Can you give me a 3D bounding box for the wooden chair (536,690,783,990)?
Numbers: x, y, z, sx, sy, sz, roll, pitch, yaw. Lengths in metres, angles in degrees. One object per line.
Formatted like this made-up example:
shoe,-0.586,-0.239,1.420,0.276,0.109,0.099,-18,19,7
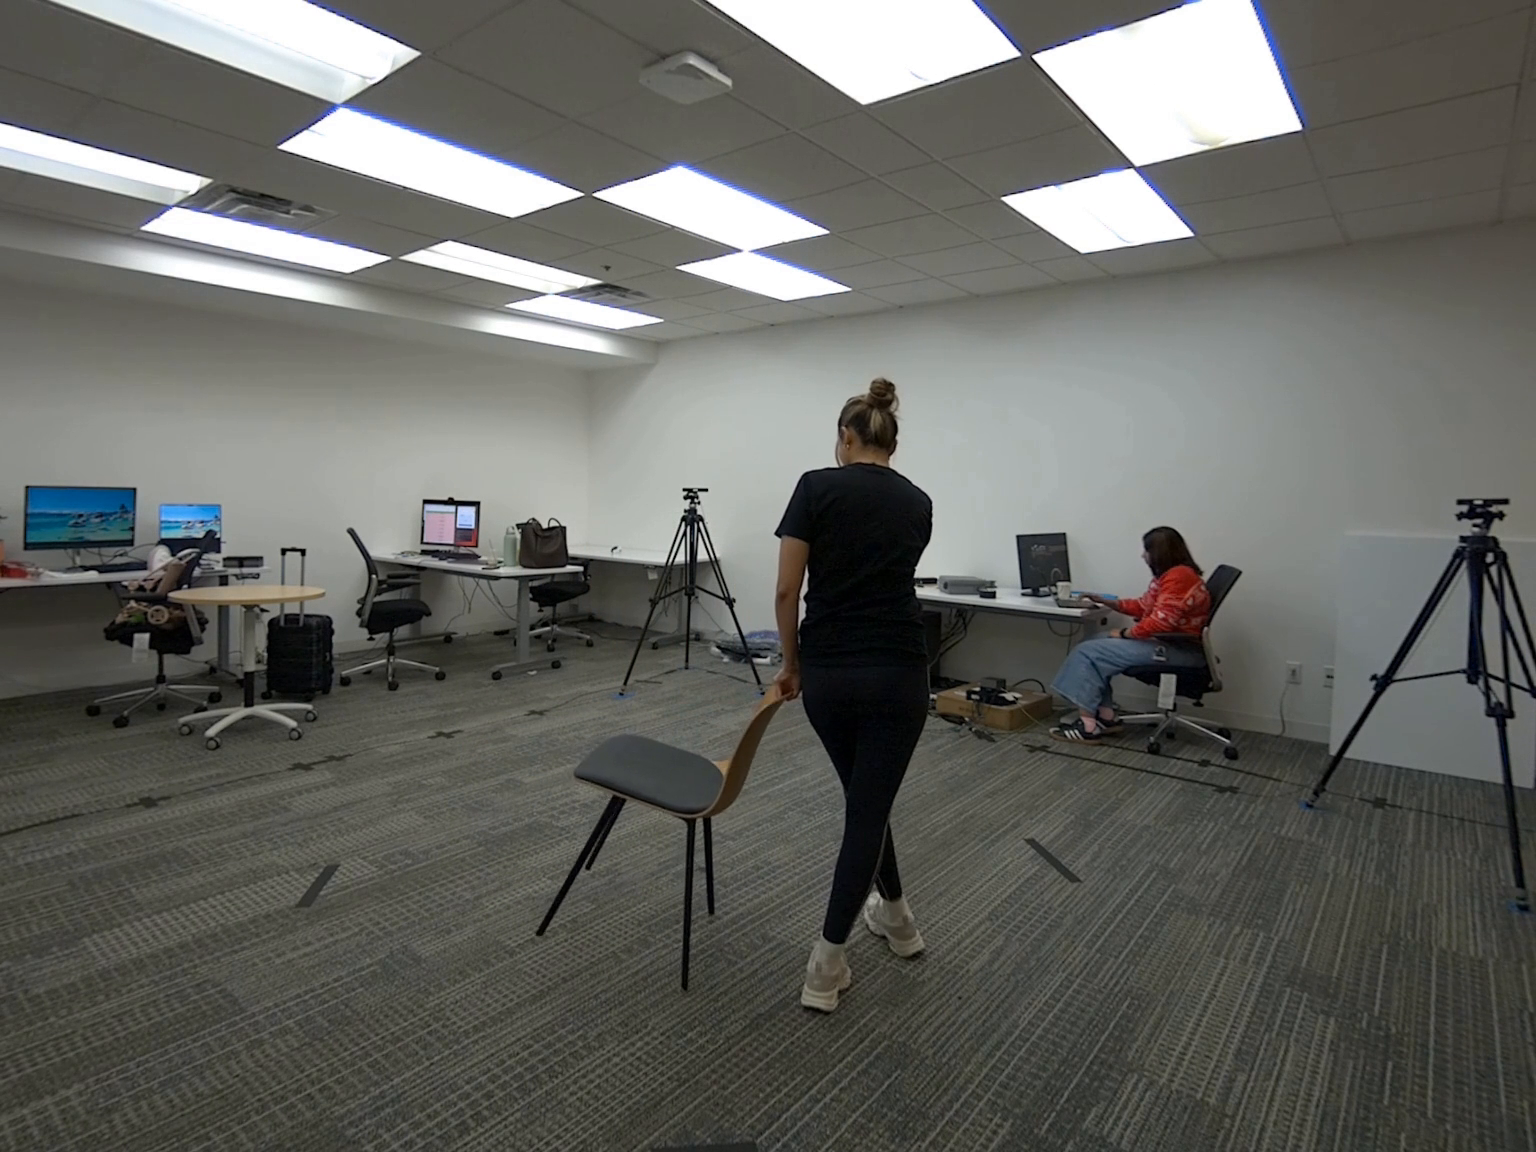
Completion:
wooden chair,-0.321,0.654,2.561,0.529,0.874,0.475,20,6,6
